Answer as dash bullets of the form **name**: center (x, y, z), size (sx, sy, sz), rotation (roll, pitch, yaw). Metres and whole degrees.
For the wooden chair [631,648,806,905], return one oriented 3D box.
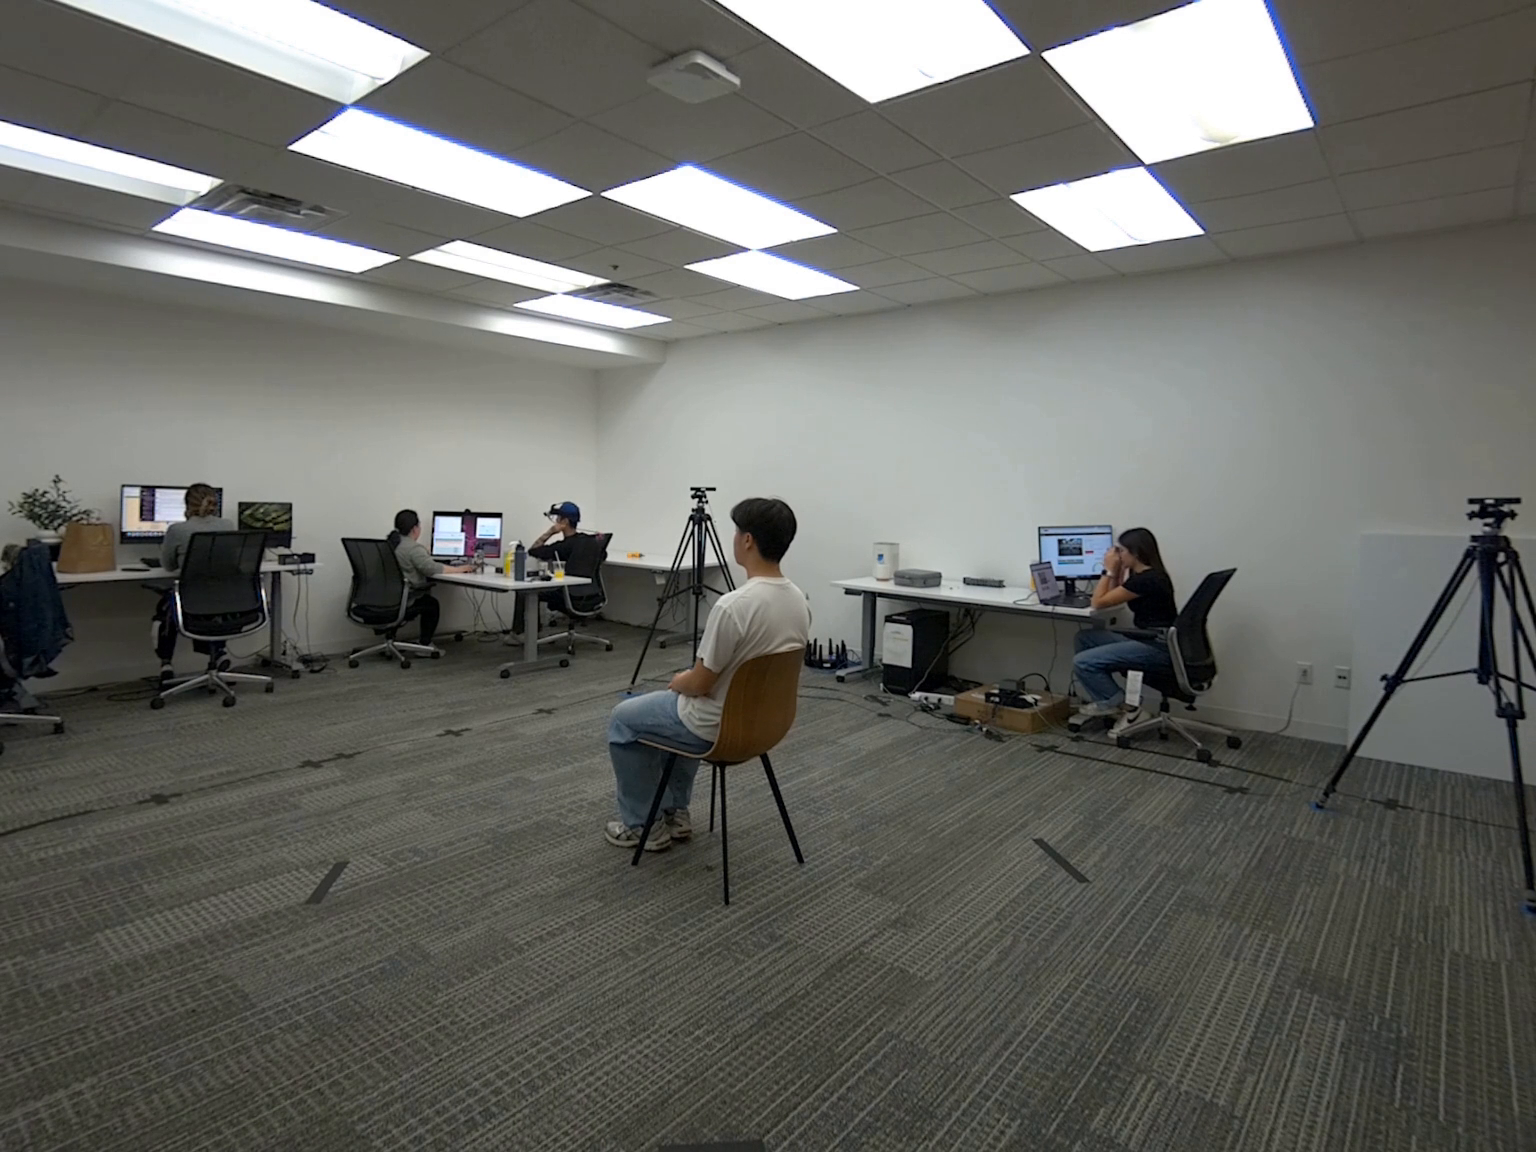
- **wooden chair**: center (-0.181, 0.639, 3.118), size (0.542, 0.873, 0.463), rotation (10, 7, 38)
